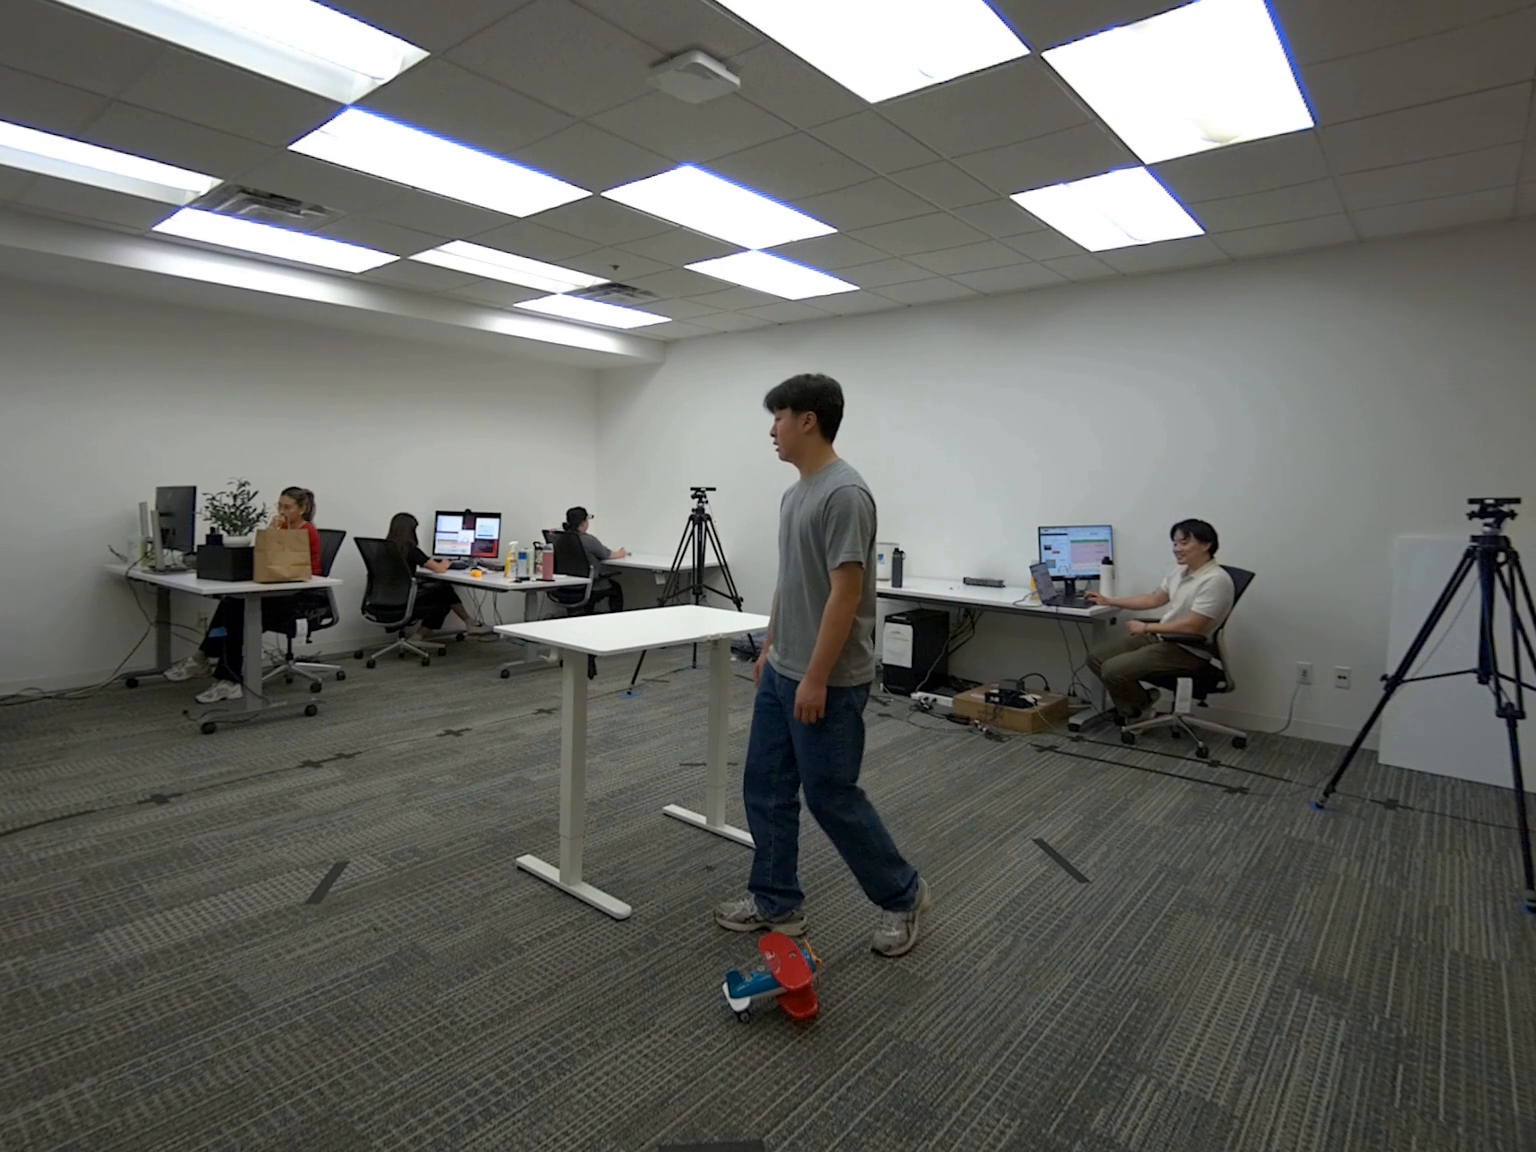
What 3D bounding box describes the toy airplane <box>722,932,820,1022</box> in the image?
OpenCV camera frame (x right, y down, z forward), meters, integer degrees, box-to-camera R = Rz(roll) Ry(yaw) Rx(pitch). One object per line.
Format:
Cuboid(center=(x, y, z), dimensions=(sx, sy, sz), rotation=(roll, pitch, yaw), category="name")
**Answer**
Cuboid(center=(0.018, 1.085, 2.244), dimensions=(0.260, 0.156, 0.251), rotation=(5, 6, 42), category="toy airplane")
